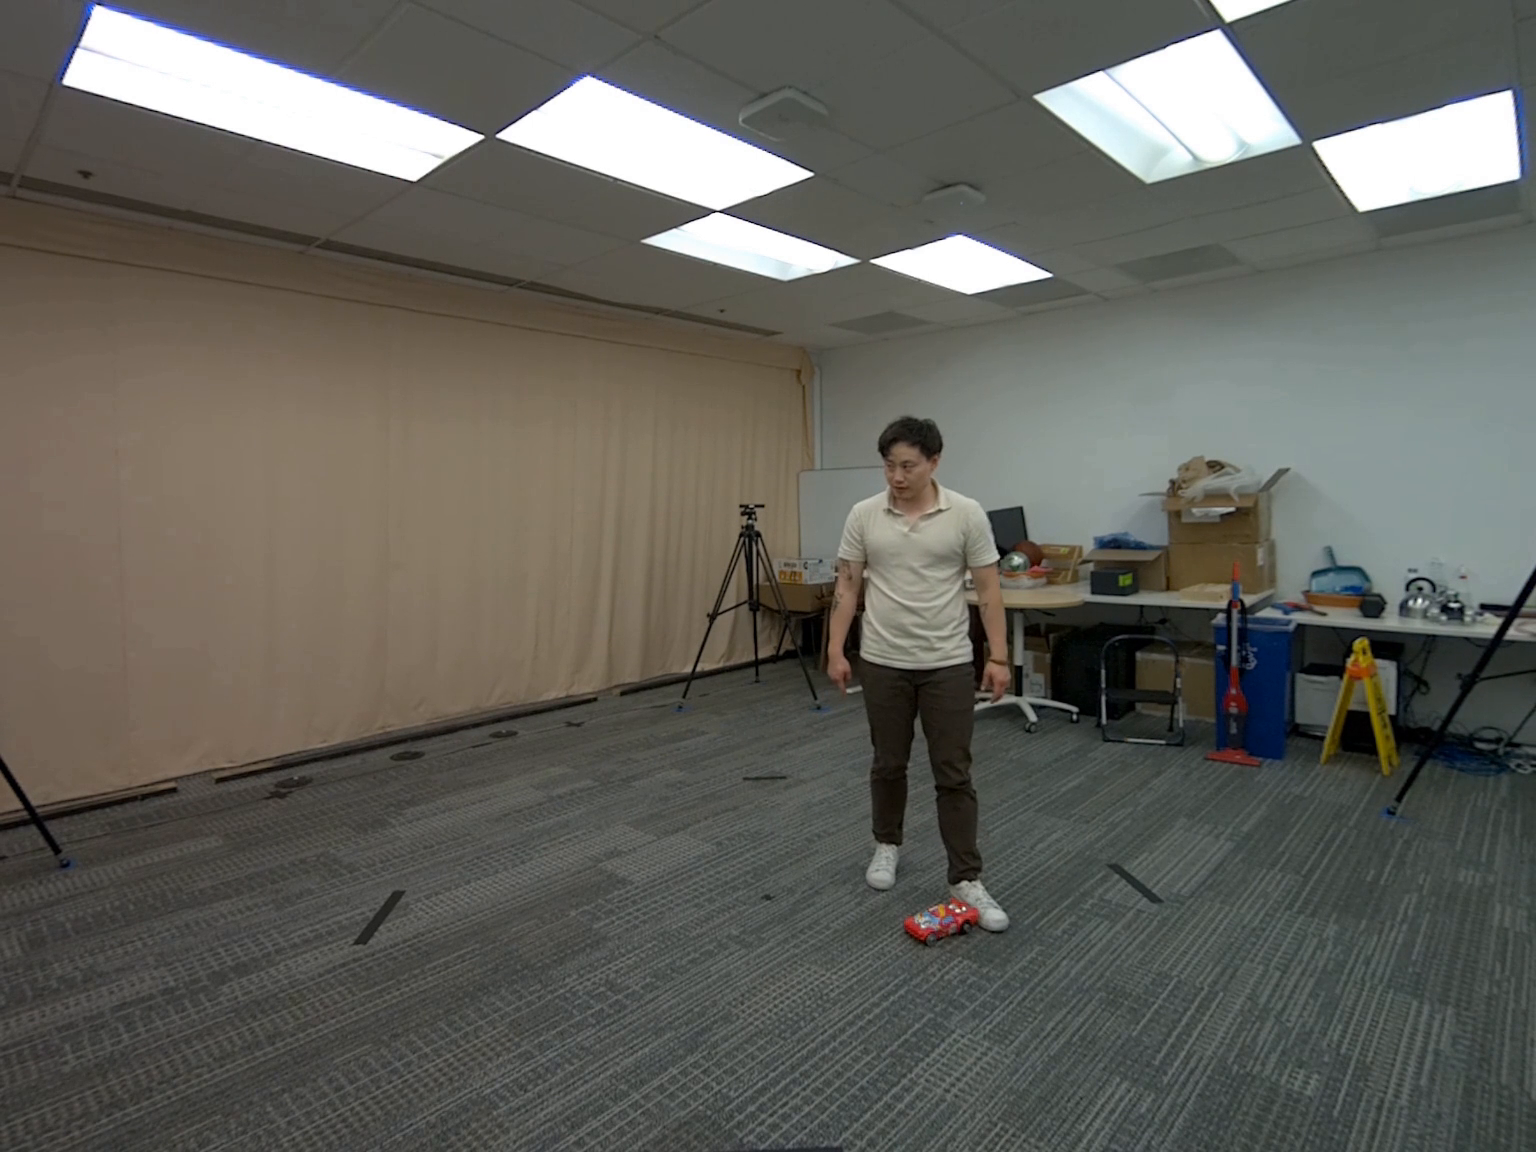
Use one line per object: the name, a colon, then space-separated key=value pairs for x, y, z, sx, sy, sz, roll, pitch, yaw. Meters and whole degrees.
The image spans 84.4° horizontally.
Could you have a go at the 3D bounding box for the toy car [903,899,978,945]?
toy car: x=0.569 y=1.112 z=2.736 sx=0.249 sy=0.082 sz=0.134 roll=-15 pitch=10 yaw=-26
